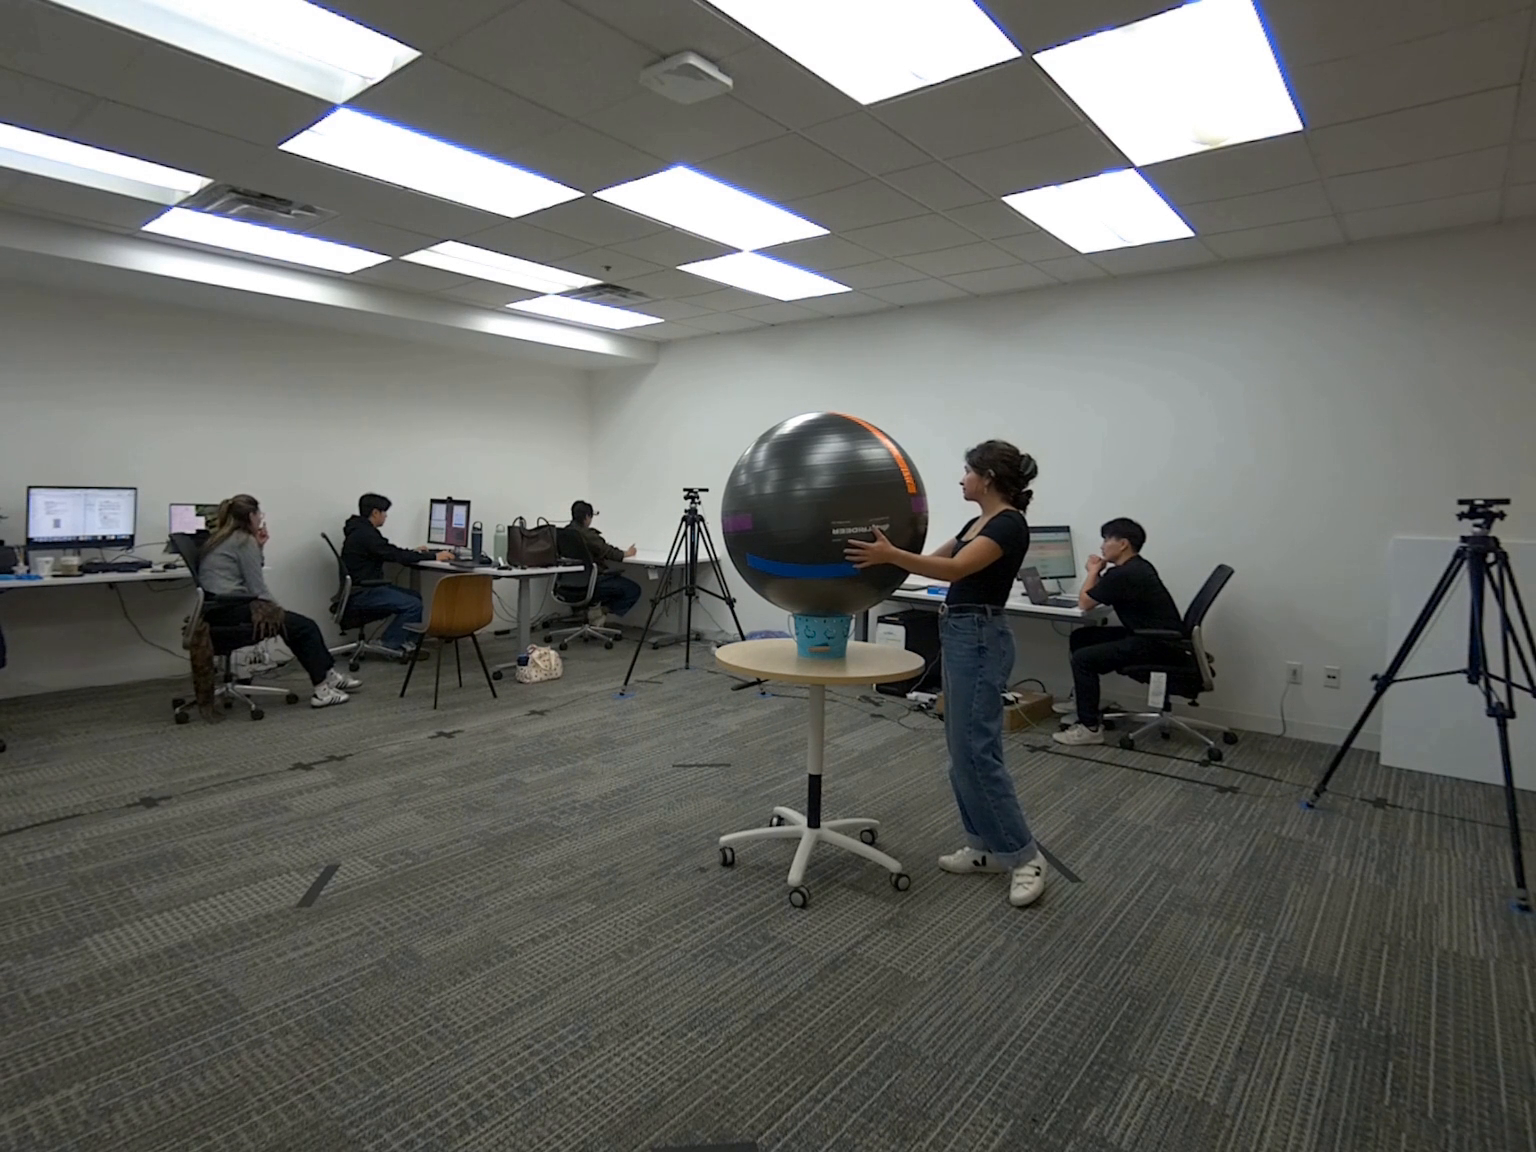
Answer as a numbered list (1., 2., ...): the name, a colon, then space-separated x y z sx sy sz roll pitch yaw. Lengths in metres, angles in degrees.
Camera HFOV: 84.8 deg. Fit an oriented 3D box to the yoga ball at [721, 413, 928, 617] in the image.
1. yoga ball: 0.212 -0.222 3.159 0.757 0.755 0.762 1 4 -2
